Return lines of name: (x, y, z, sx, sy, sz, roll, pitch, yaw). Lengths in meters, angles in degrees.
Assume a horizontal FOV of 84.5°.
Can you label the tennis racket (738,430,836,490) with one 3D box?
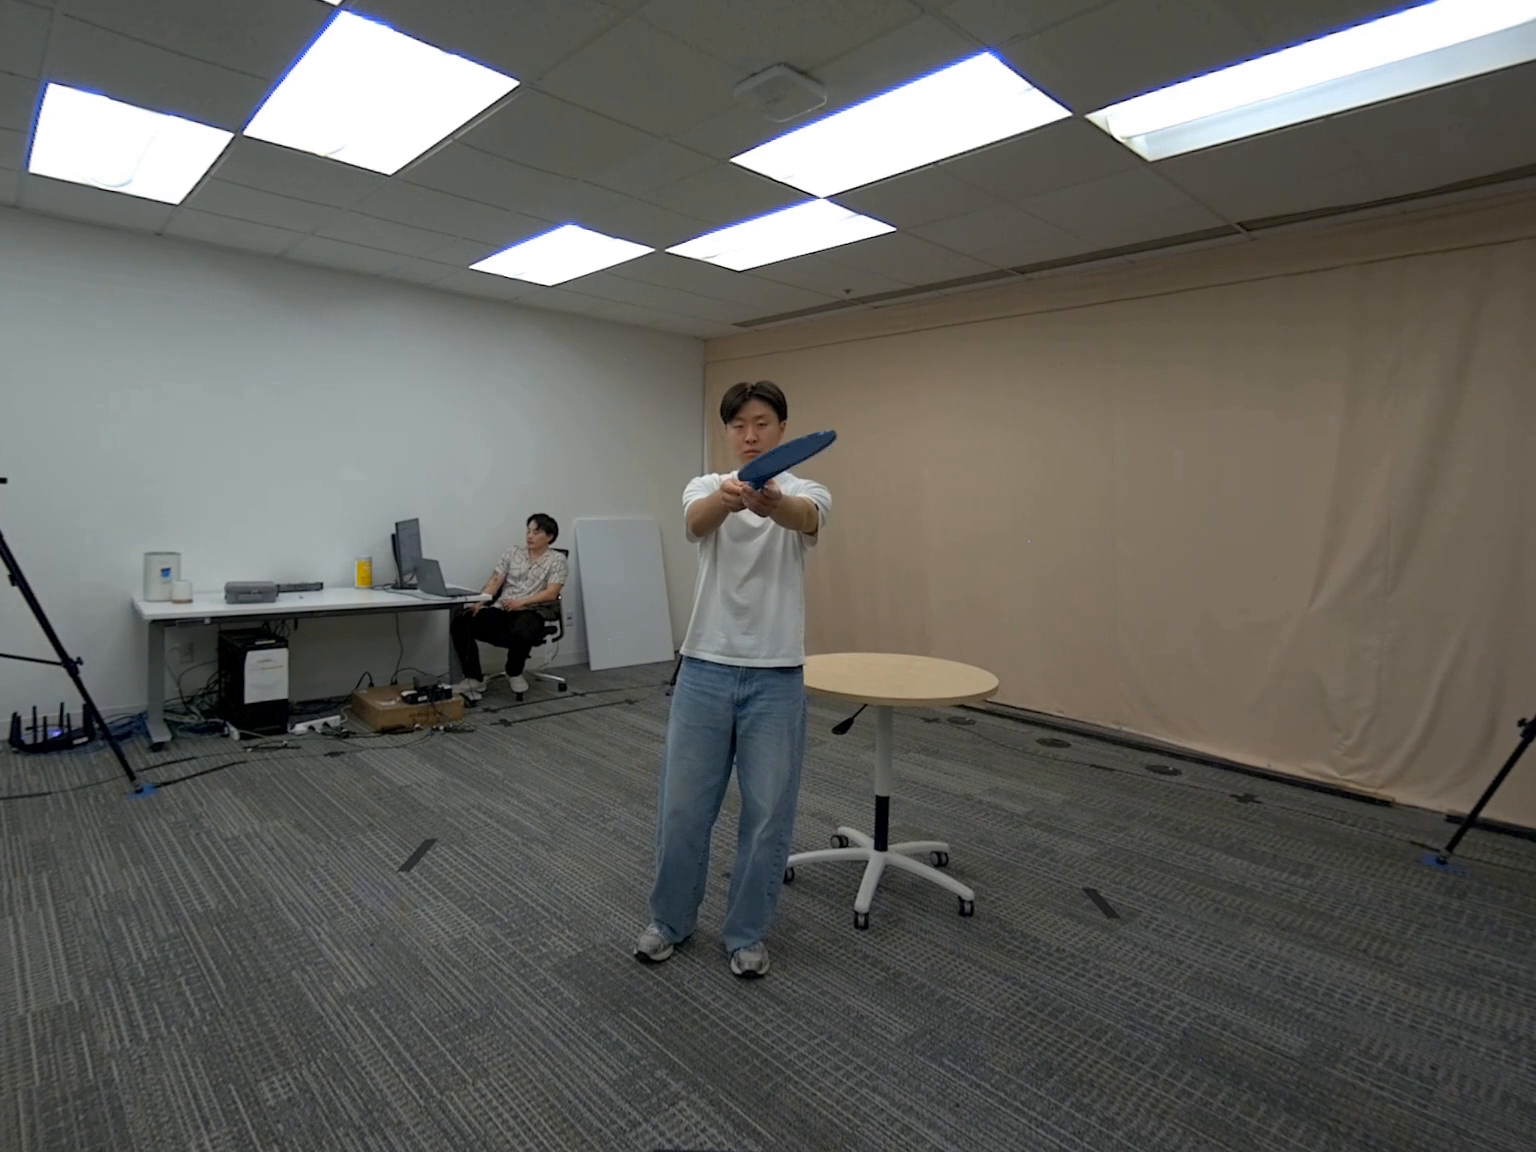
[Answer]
tennis racket: (0.005, -0.226, 1.825, 0.212, 0.032, 0.433, -23, -4, -13)
